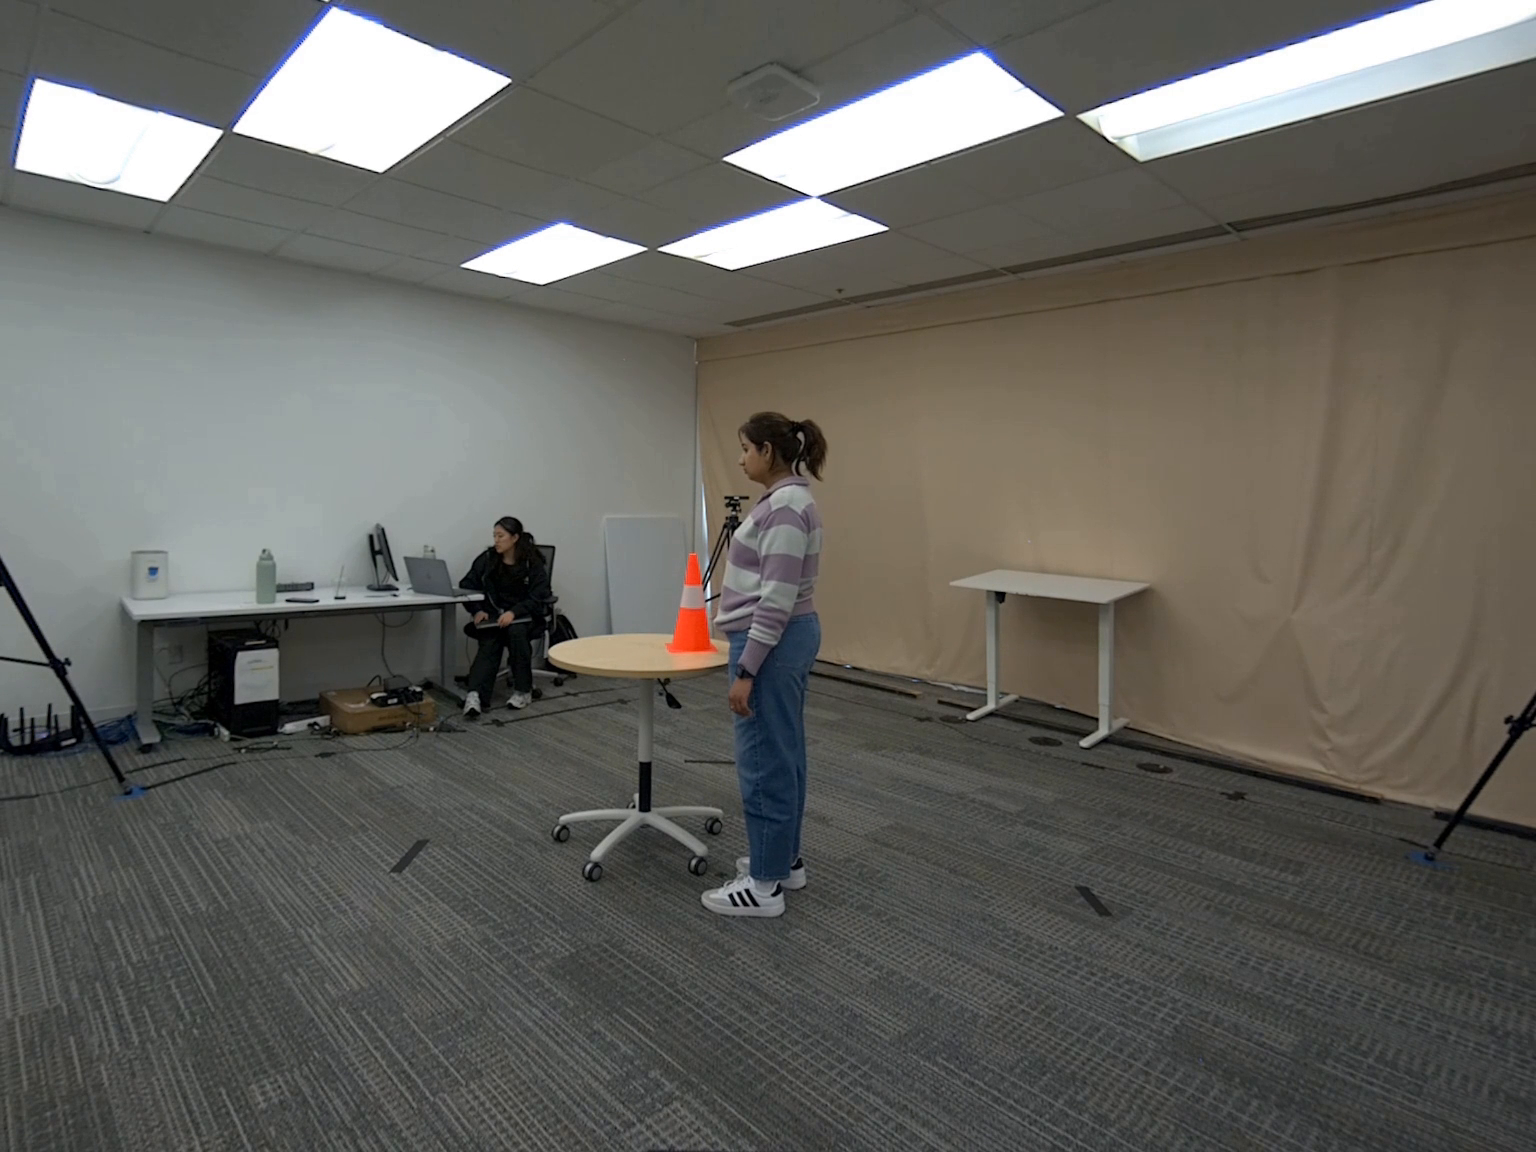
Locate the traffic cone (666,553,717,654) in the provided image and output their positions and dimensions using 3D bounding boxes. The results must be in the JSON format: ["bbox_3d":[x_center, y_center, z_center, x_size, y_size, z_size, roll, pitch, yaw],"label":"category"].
[{"bbox_3d":[-0.303,0.105,3.374,0.202,0.383,0.206,3,4,-16],"label":"traffic cone"}]
